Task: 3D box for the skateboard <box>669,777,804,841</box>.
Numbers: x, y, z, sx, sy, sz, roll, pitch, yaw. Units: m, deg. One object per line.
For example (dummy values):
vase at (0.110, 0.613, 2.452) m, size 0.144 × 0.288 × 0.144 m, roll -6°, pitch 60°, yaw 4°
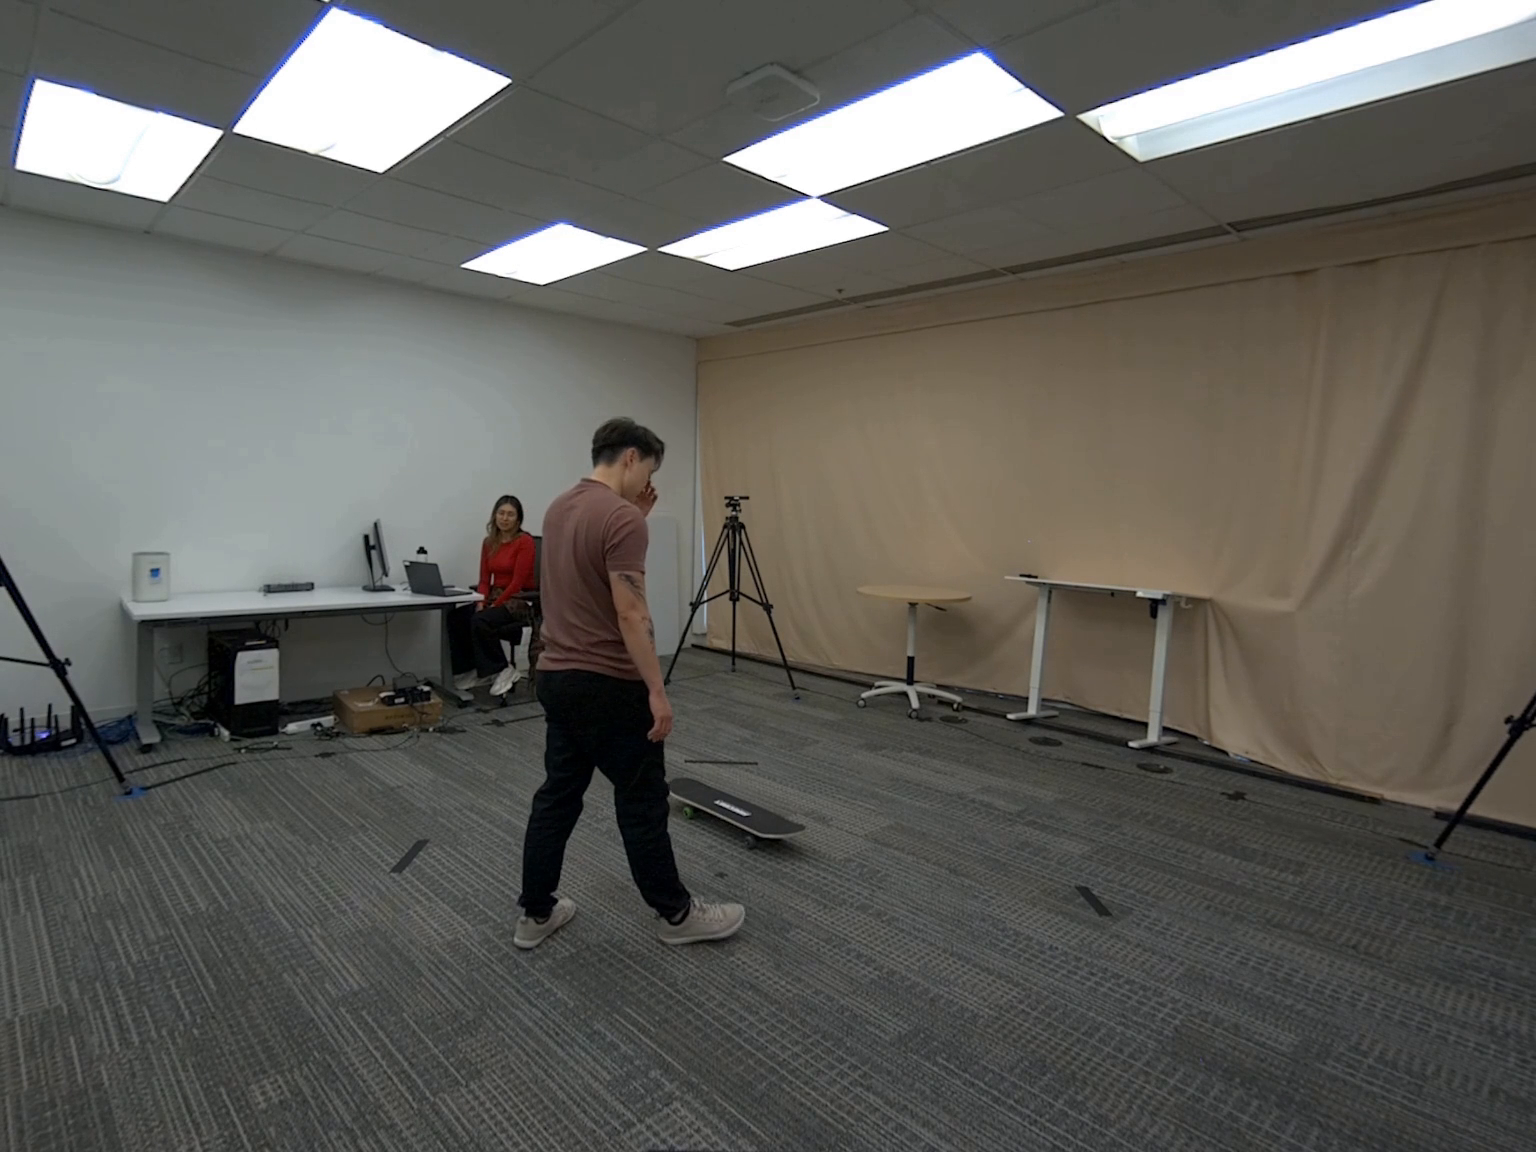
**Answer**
skateboard at (-0.163, 1.011, 3.550) m, size 0.189 × 0.110 × 0.806 m, roll -4°, pitch 8°, yaw -42°
